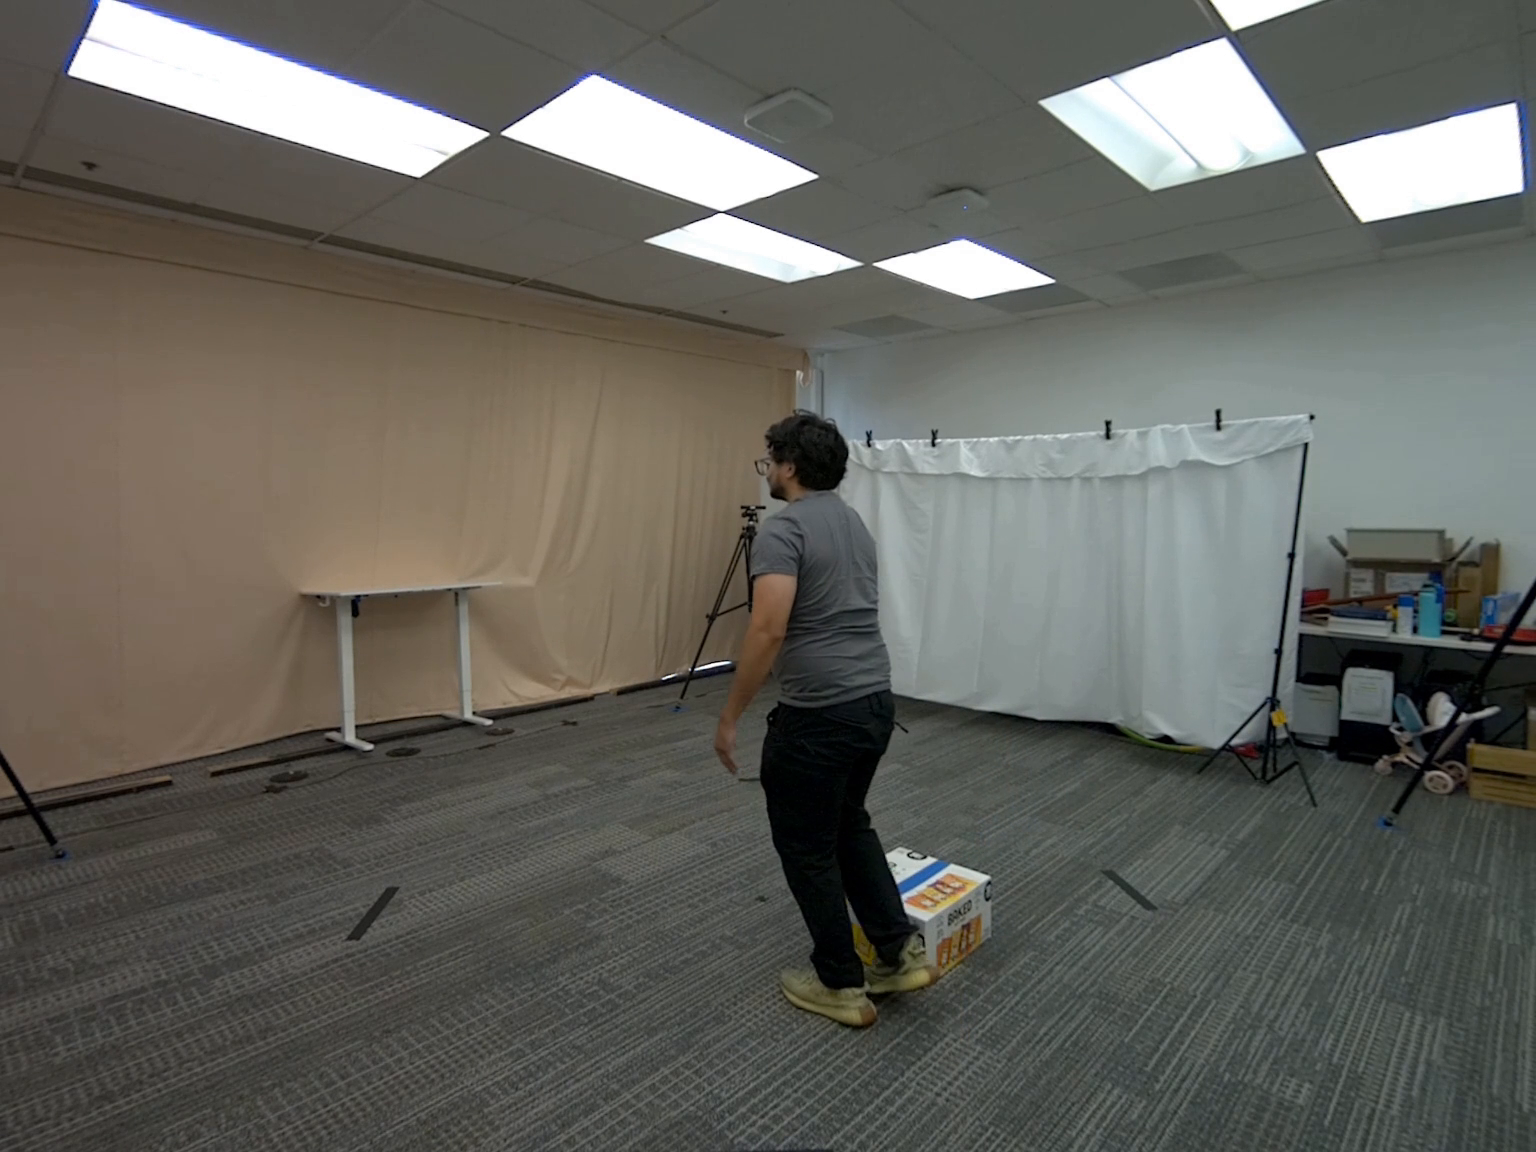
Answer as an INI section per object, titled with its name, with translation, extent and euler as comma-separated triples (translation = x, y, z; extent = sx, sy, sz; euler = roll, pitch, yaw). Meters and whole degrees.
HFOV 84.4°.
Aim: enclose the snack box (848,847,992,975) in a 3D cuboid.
[snack box]
translation = 0.461, 1.068, 2.670
extent = 0.352, 0.205, 0.393
euler = 4, 6, 42
